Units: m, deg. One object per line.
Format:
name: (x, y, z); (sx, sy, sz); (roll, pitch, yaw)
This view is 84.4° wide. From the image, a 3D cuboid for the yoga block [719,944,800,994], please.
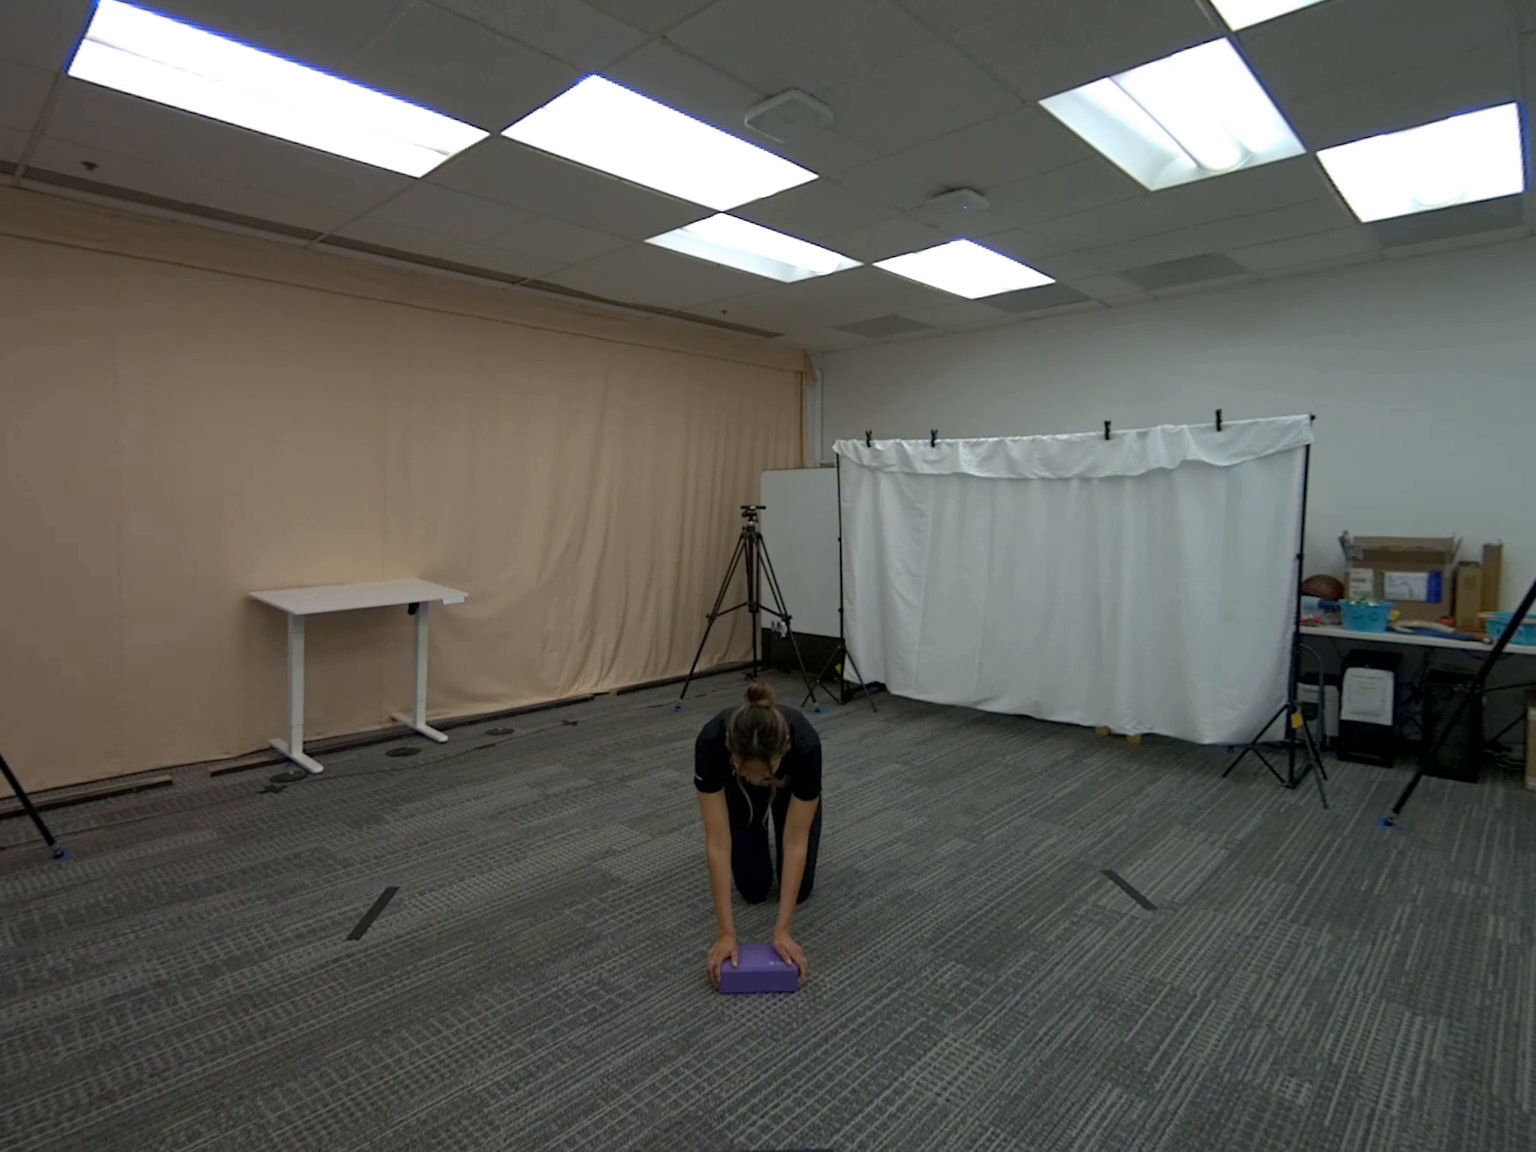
yoga block: (-0.034, 1.141, 2.472); (0.229, 0.076, 0.150); (-1, 6, -3)
